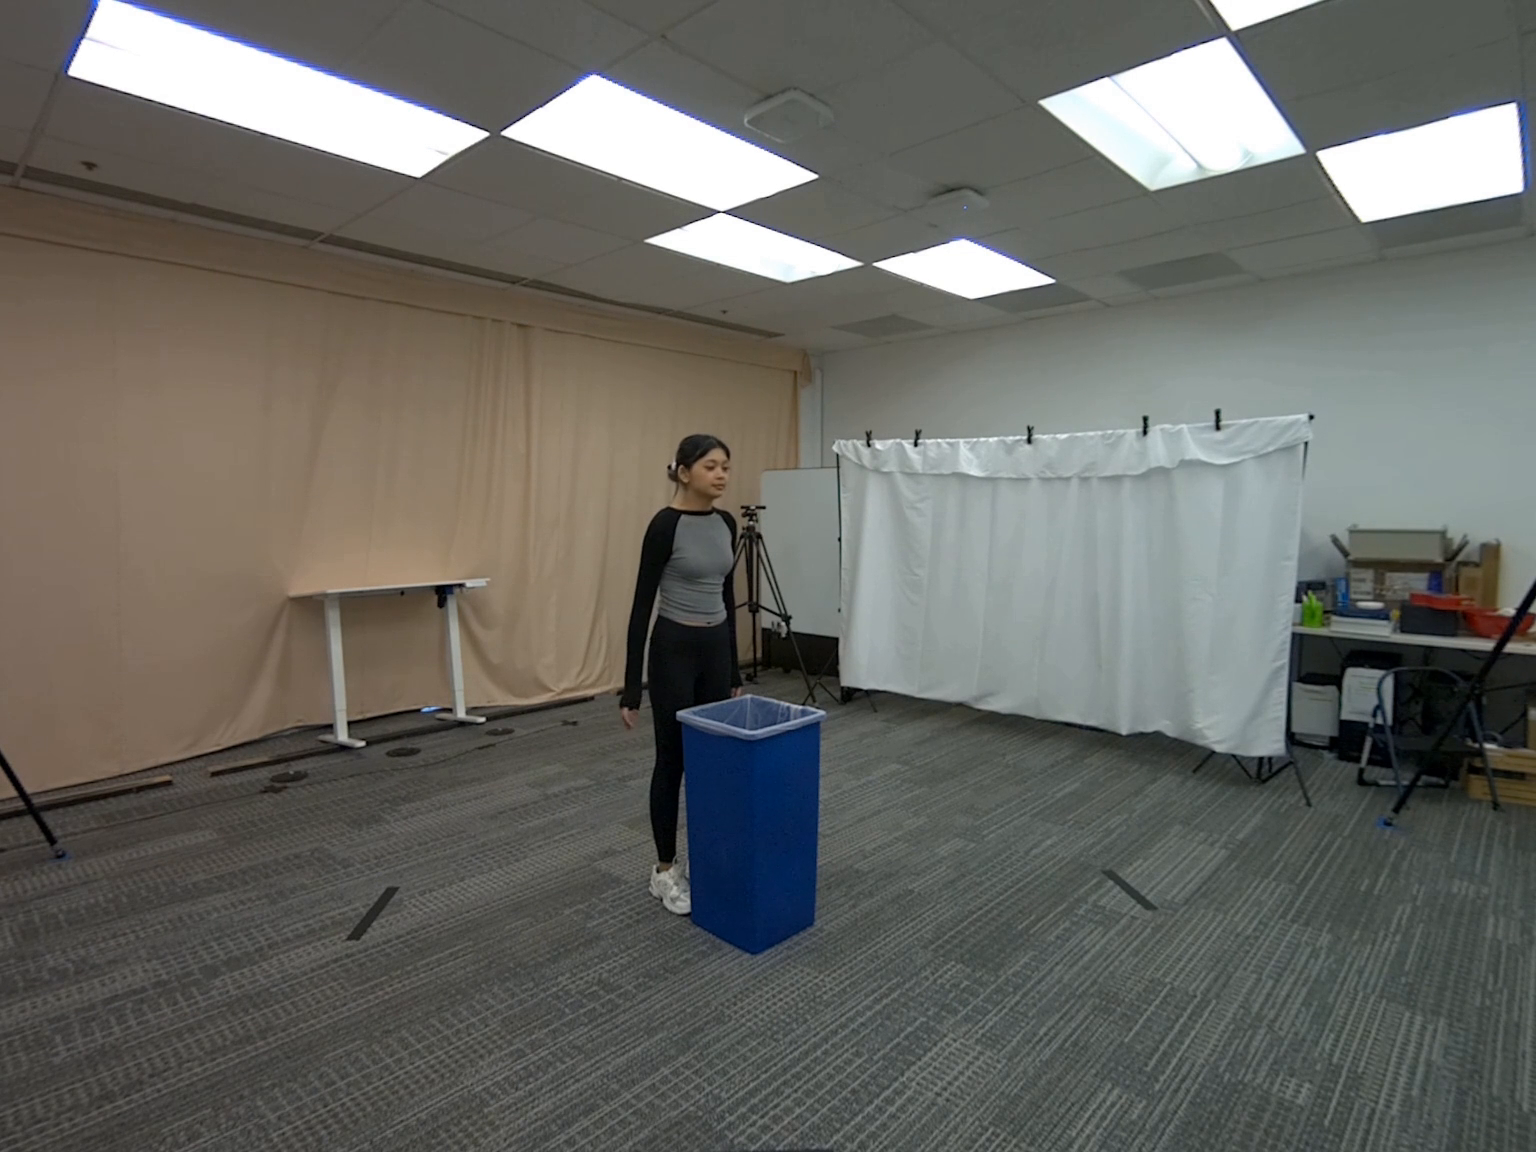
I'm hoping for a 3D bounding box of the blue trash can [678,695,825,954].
[{"bbox_3d":[-0.050,0.802,2.784,0.391,0.712,0.362,3,4,44],"label":"blue trash can"}]
